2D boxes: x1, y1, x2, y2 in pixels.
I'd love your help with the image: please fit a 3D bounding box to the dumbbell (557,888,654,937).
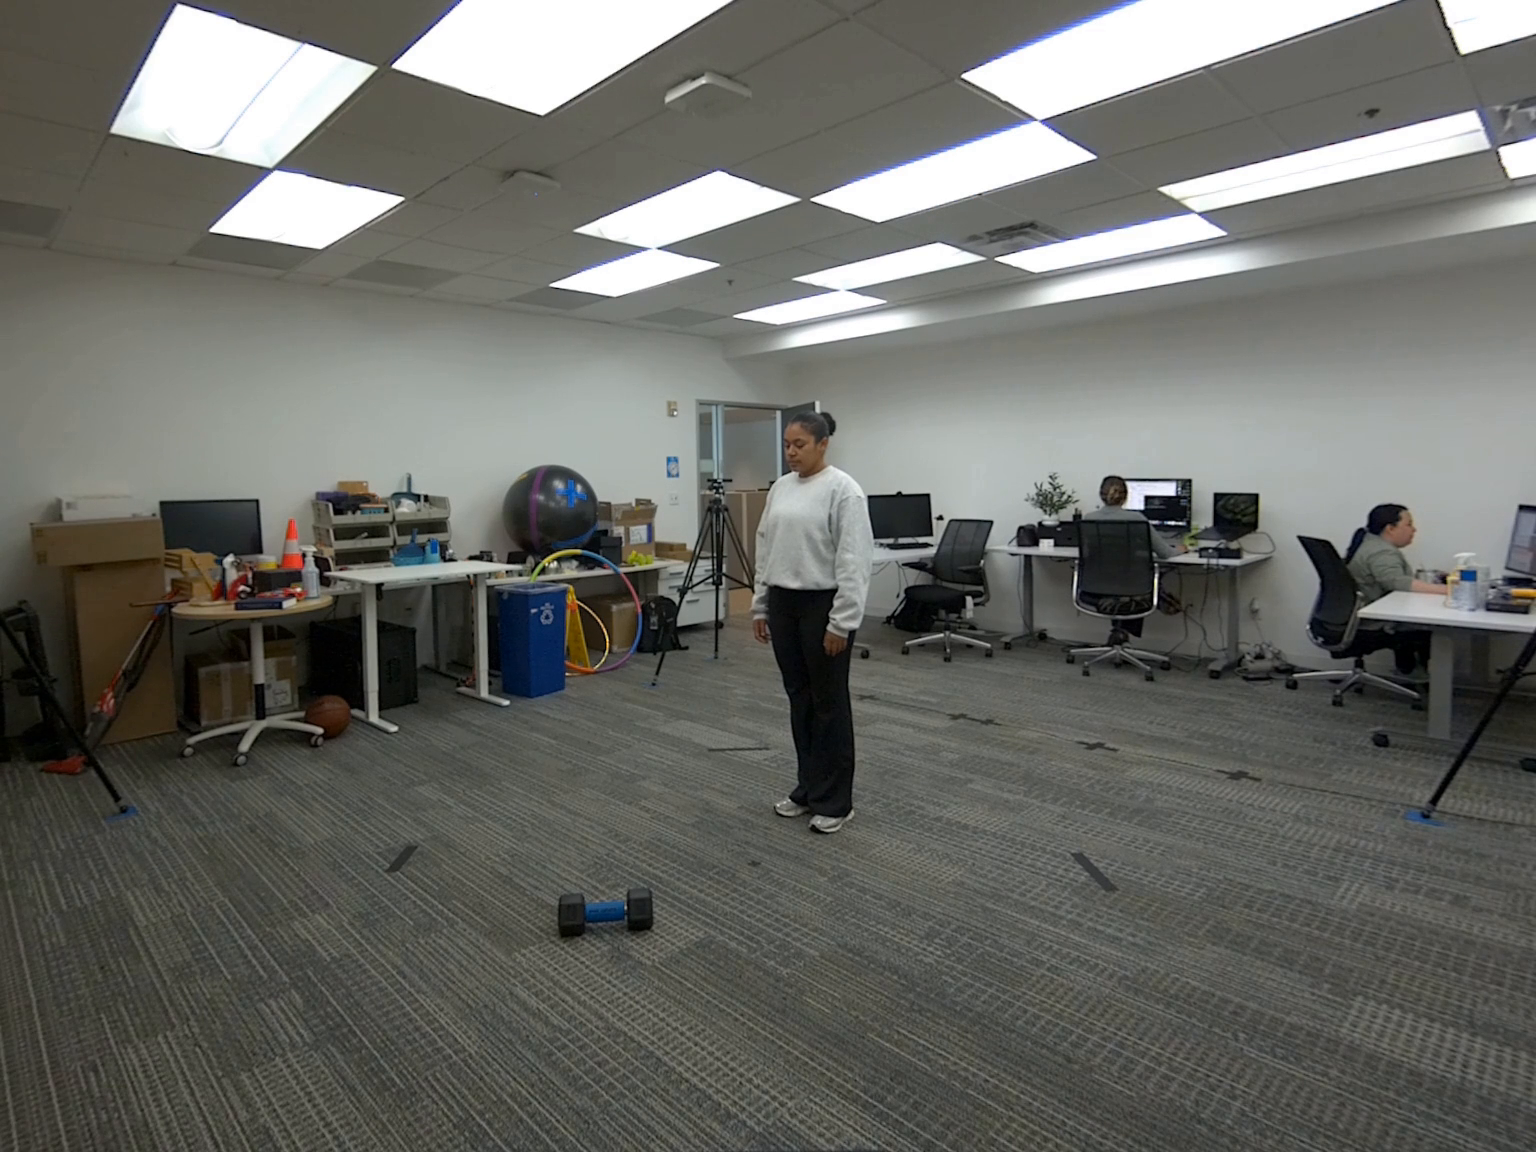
[{"bbox_3d":[-0.502,1.053,2.673,0.291,0.120,0.112,-2,34,-7],"label":"dumbbell"}]
